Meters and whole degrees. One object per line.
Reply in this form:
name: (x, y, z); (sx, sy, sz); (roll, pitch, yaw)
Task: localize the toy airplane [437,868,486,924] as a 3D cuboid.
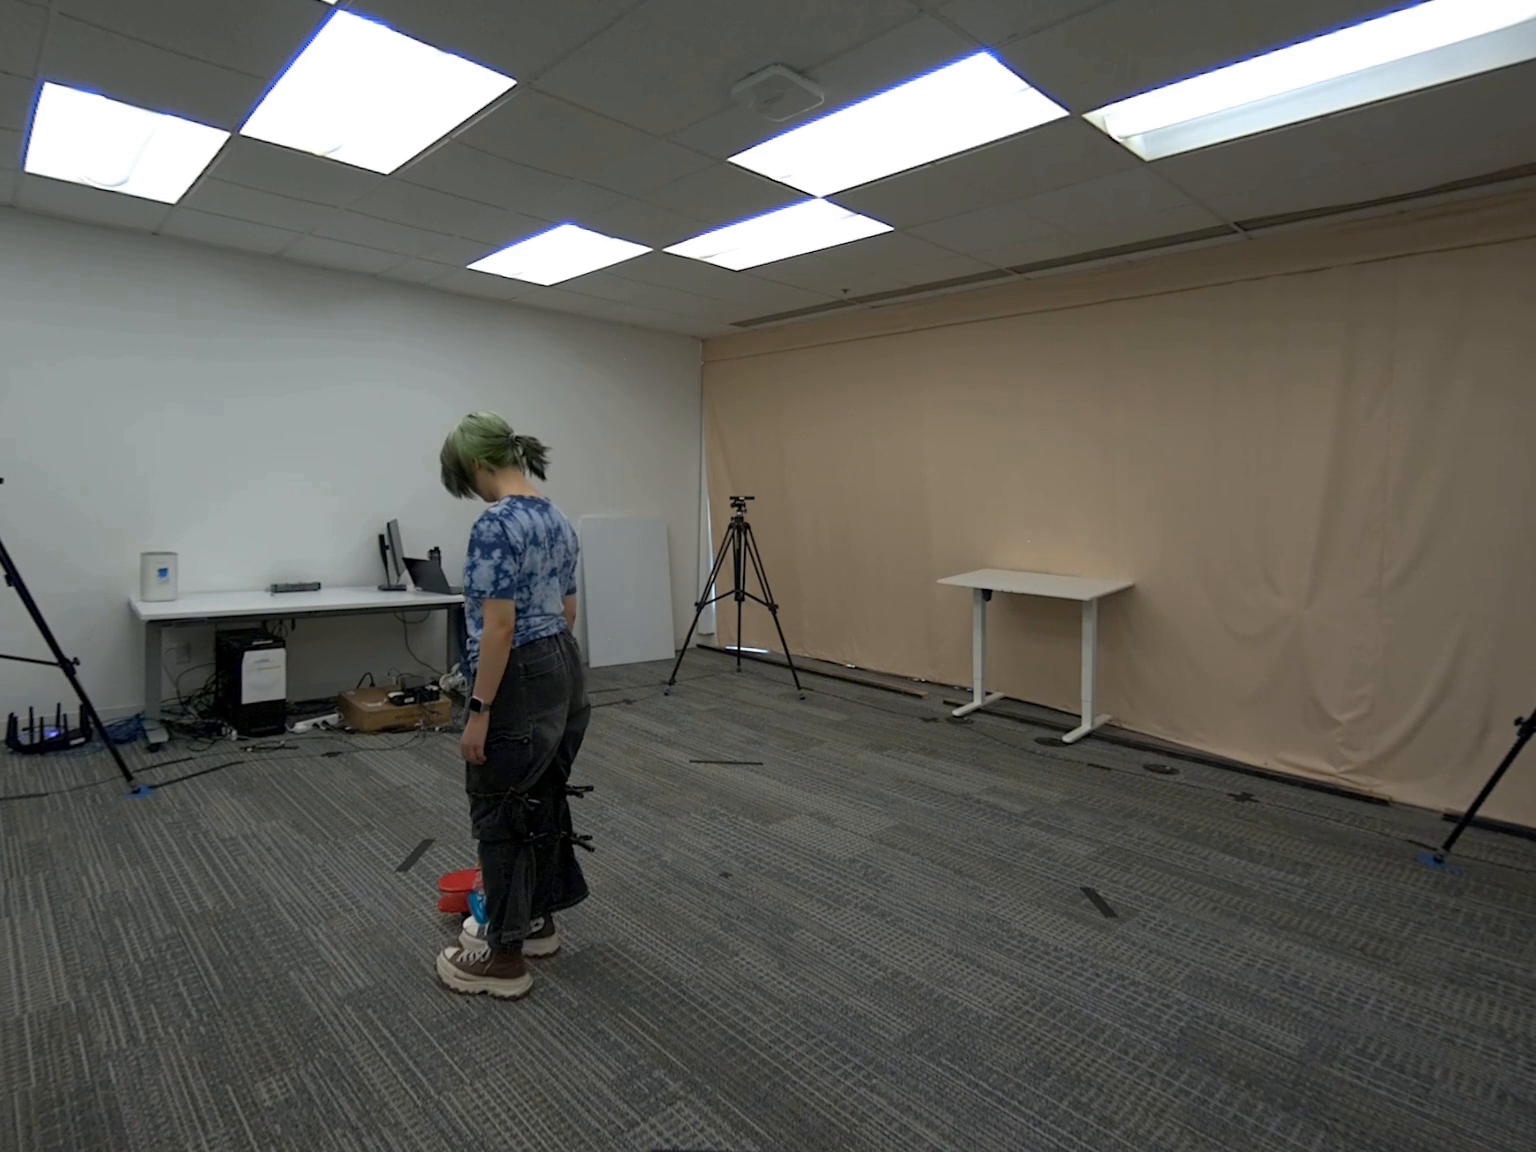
toy airplane: (-0.918, 1.048, 2.715); (0.265, 0.156, 0.245); (3, 4, 39)
